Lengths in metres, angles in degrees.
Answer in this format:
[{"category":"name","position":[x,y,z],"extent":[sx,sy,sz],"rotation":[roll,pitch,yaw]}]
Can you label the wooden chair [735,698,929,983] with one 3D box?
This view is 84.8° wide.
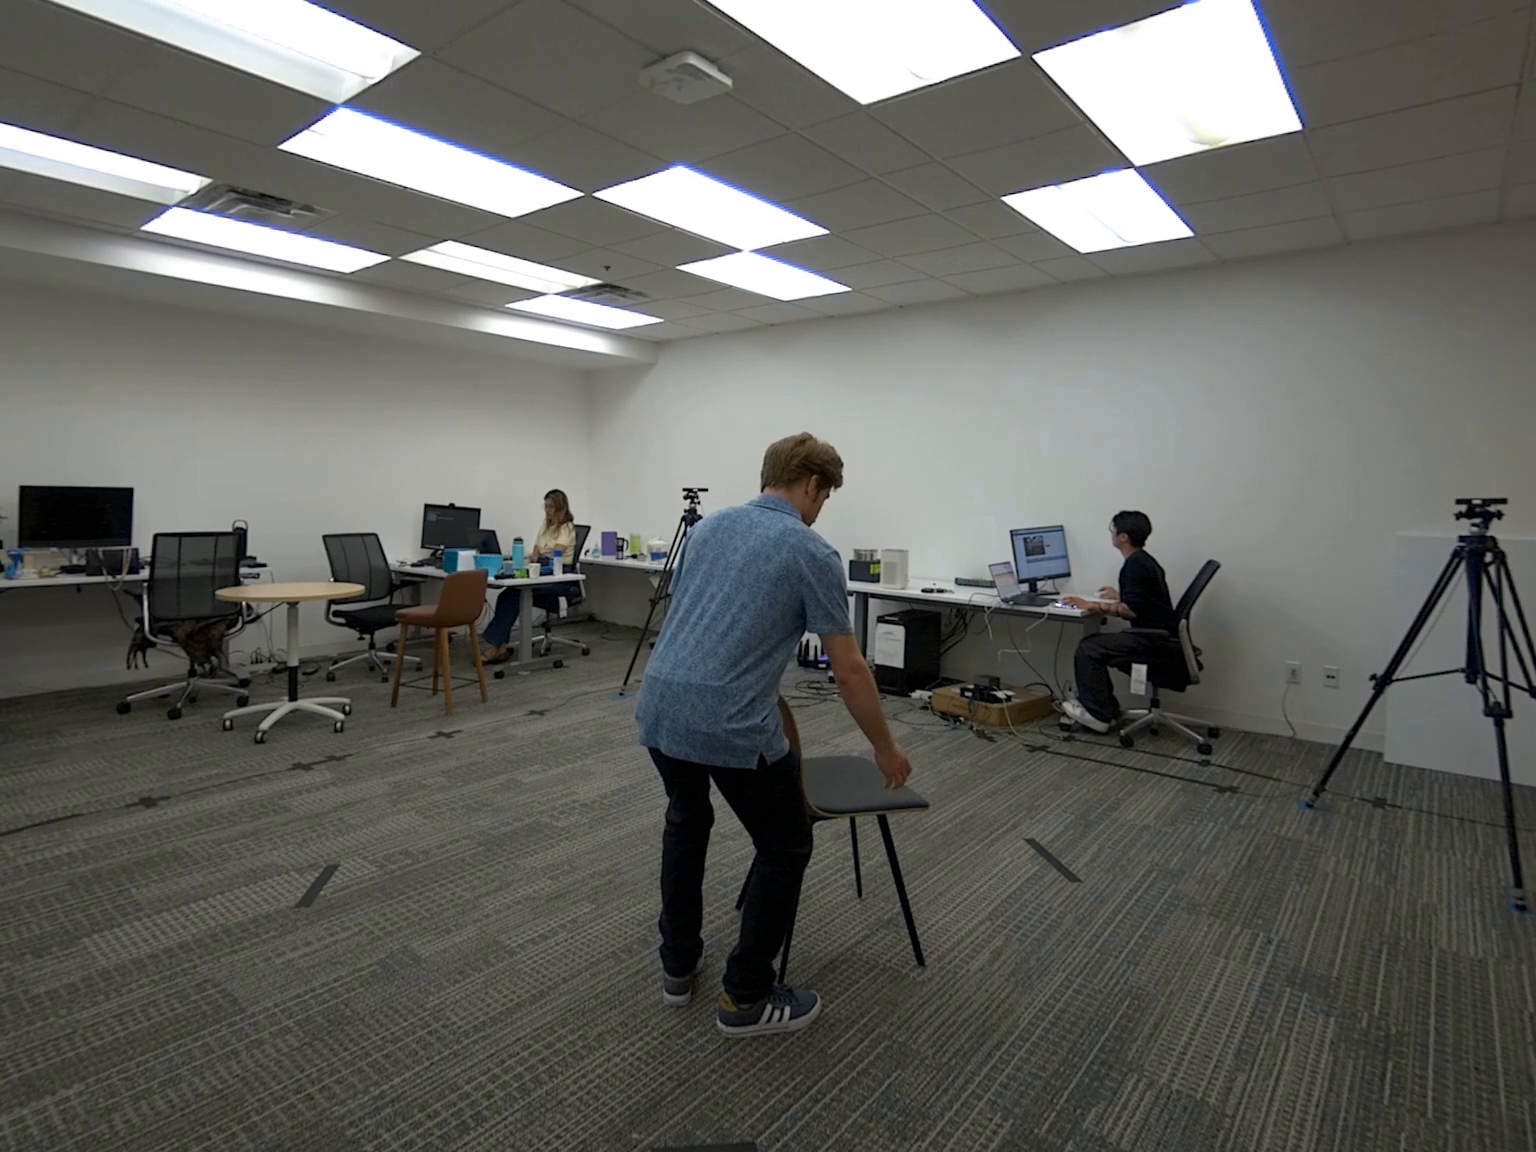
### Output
[{"category":"wooden chair","position":[0.191,0.693,2.643],"extent":[0.515,0.874,0.488],"rotation":[-4,4,-17]}]
